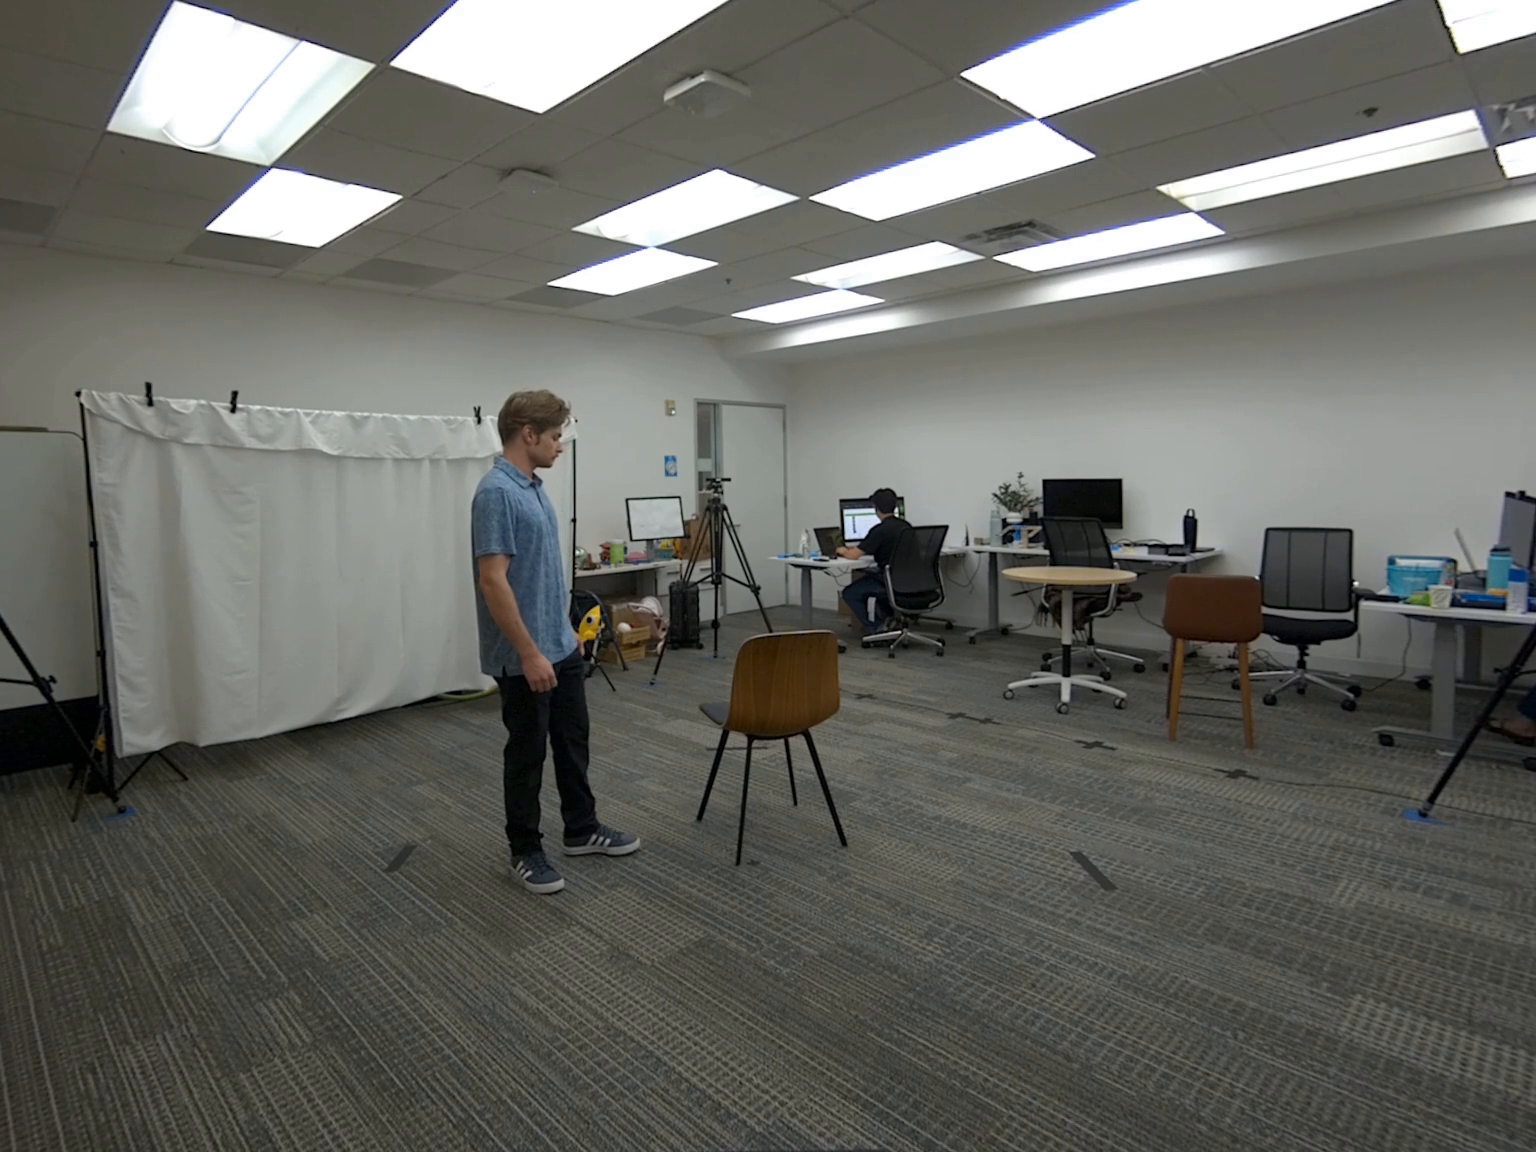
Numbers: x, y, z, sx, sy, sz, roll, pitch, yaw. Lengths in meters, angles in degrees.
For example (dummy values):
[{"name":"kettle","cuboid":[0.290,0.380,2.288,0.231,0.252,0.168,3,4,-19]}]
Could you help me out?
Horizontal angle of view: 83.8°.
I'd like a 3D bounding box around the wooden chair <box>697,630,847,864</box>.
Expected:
[{"name":"wooden chair","cuboid":[-0.004,0.589,3.343,0.469,0.871,0.537,-3,9,-22]}]
